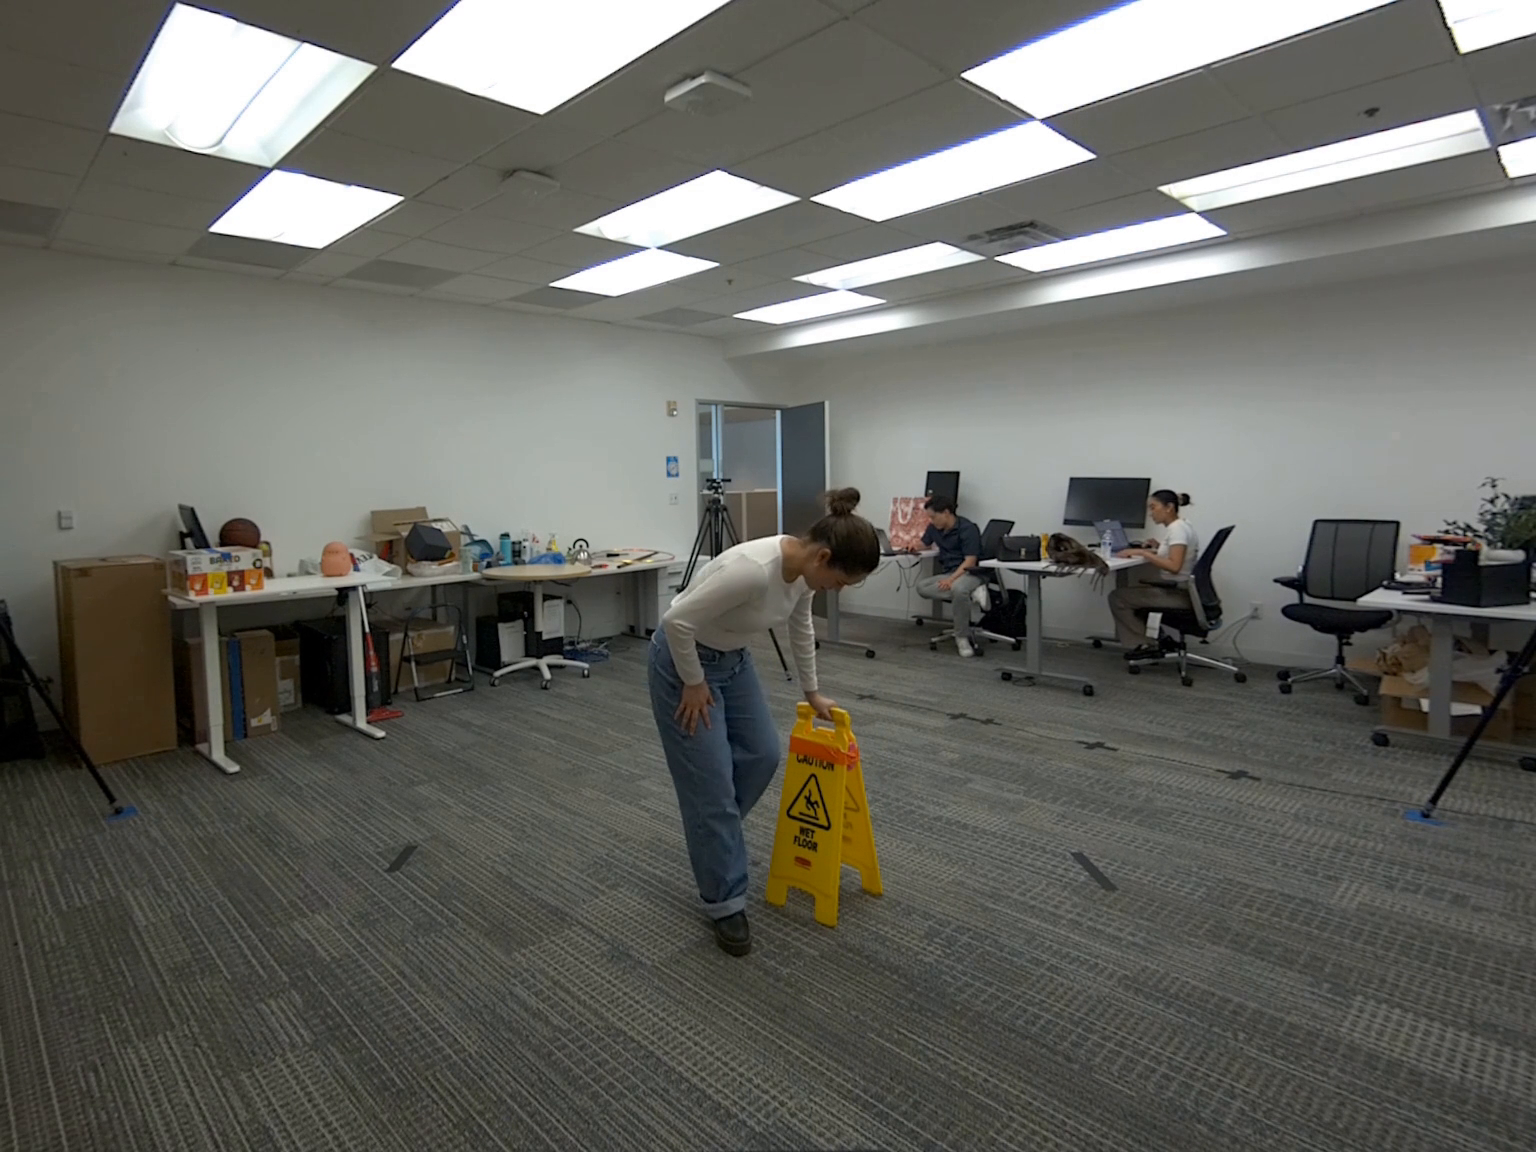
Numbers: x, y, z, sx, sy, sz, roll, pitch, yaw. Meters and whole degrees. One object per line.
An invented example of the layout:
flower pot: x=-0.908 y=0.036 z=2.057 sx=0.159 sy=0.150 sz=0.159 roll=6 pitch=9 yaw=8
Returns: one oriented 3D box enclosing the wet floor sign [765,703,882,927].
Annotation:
wet floor sign: x=0.185 y=0.747 z=2.828 sx=0.291 sy=0.644 sz=0.282 roll=2 pitch=5 yaw=41
